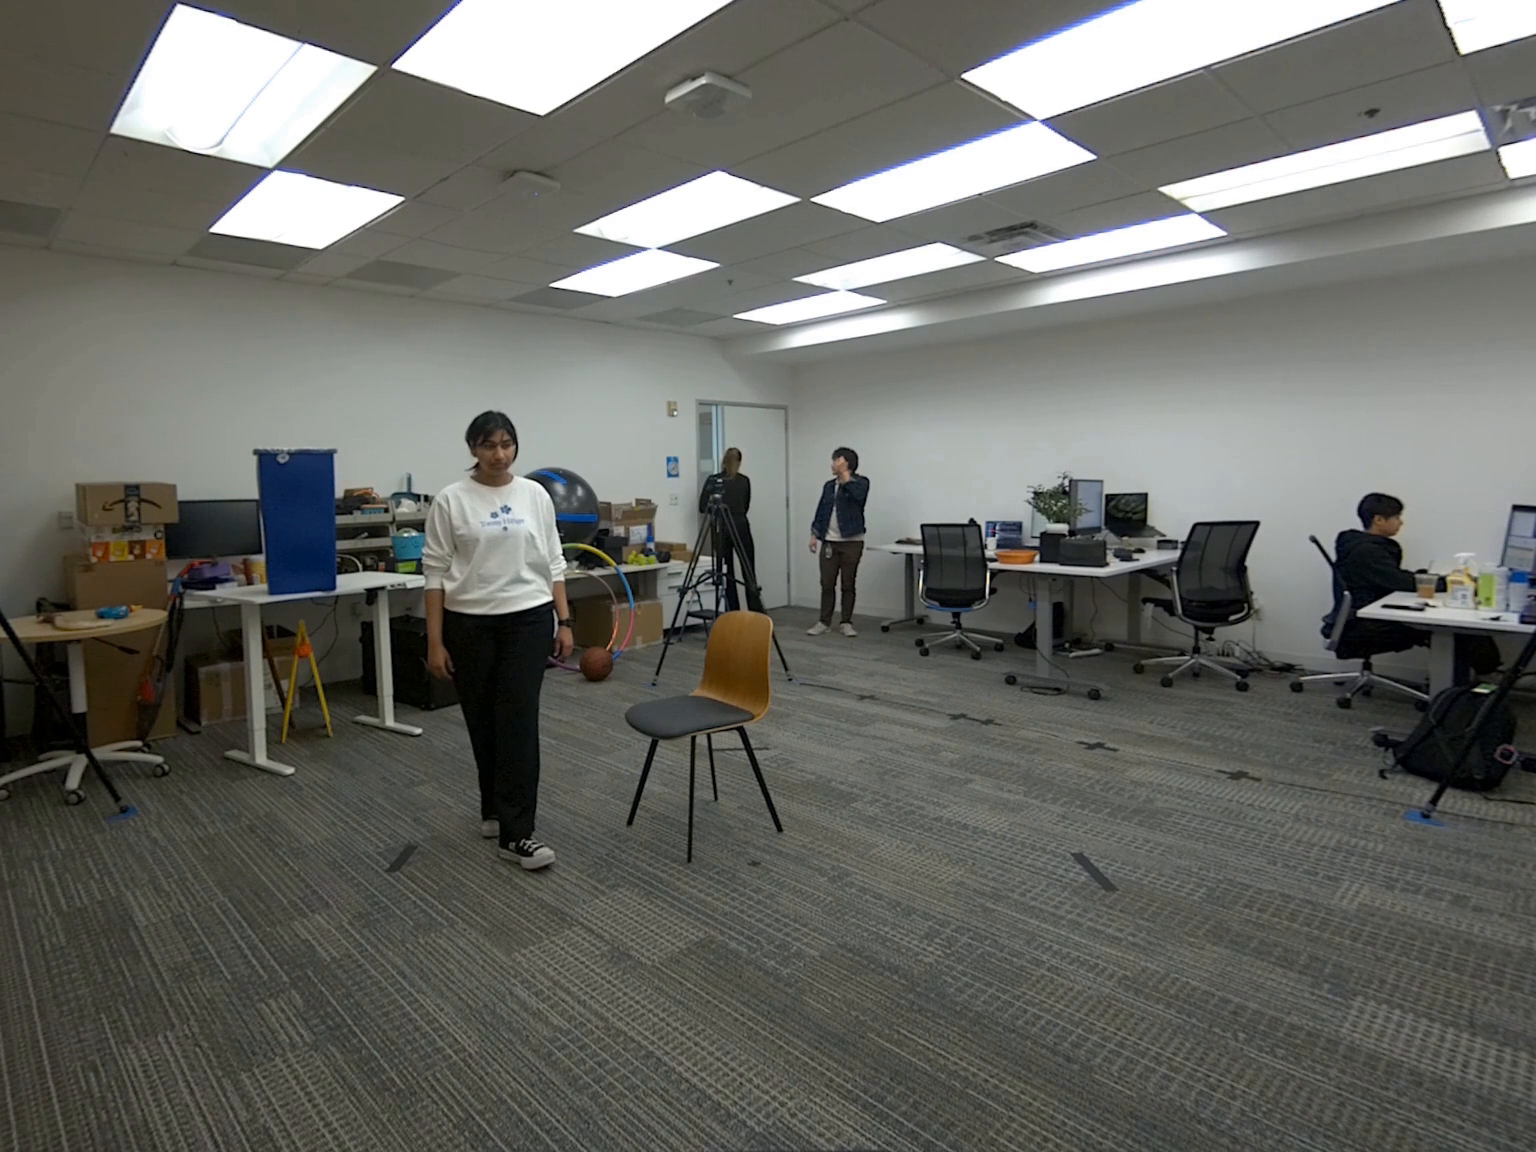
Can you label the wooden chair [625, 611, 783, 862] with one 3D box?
[{"bbox_3d":[-0.270,0.587,3.384,0.508,0.876,0.492,1,3,-38],"label":"wooden chair"}]
